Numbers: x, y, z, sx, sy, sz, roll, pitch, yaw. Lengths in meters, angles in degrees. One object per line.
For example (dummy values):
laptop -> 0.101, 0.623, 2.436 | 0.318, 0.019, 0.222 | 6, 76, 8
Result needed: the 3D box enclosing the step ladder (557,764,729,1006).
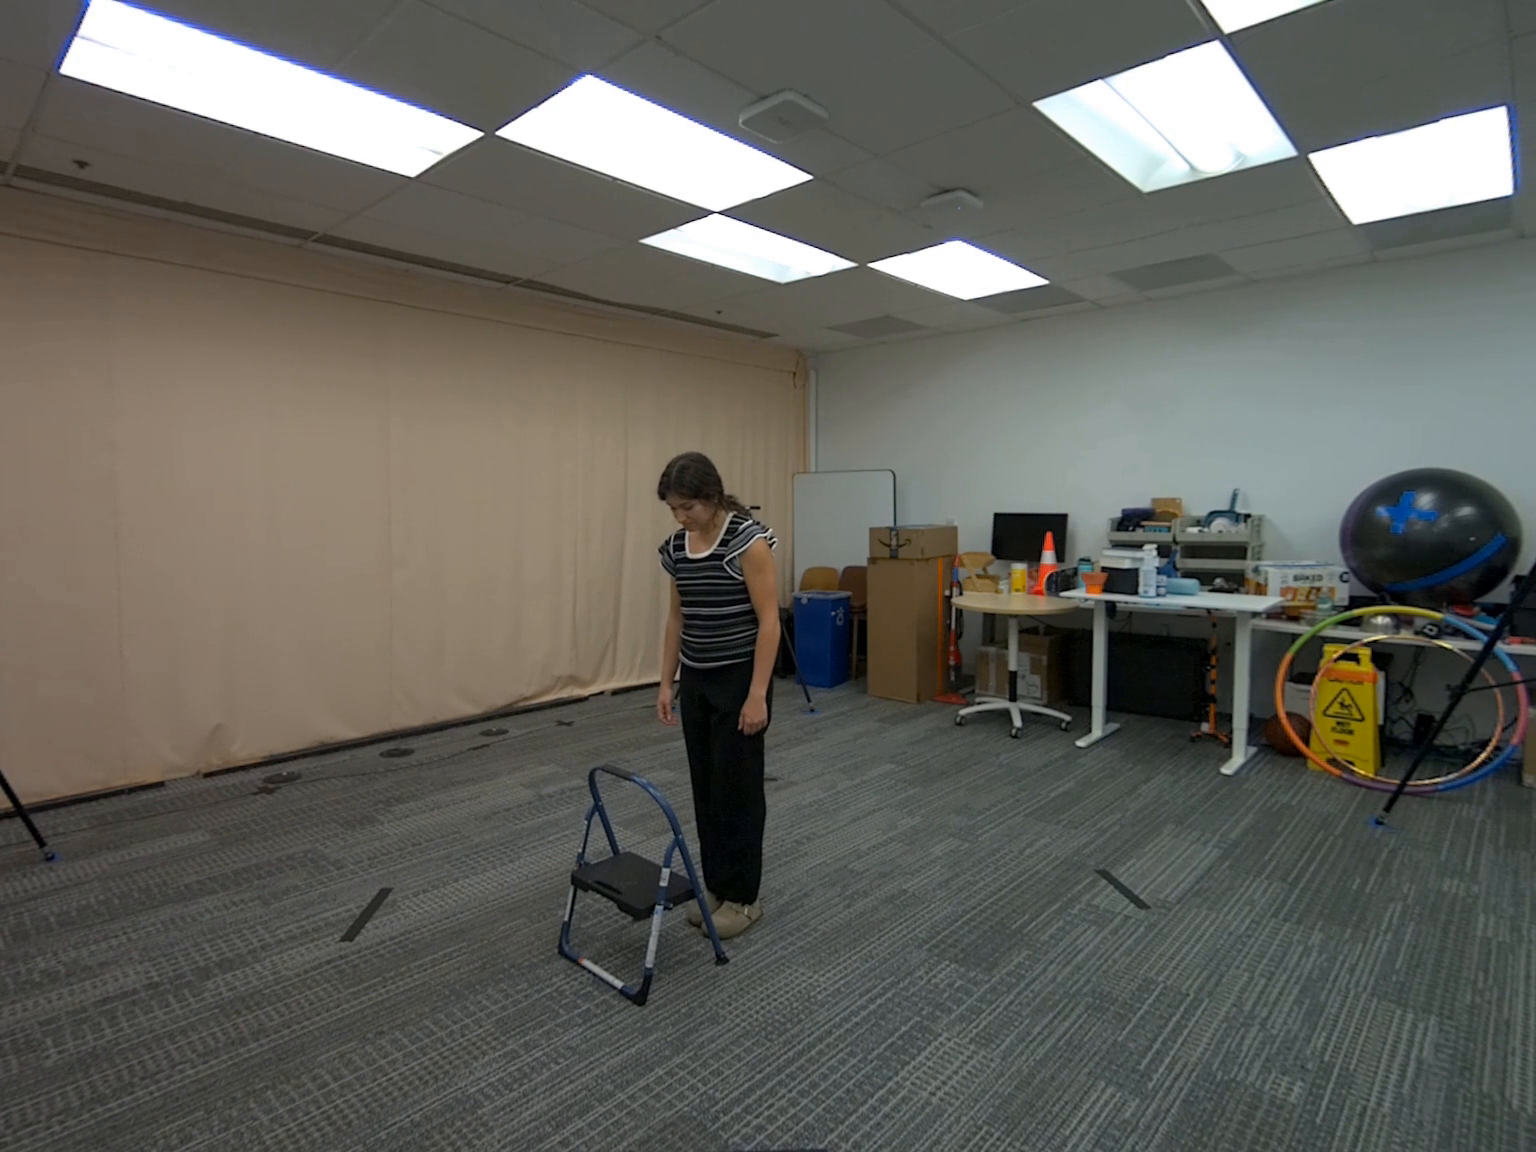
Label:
step ladder -> -0.391, 0.878, 2.589 | 0.445, 0.605, 0.338 | 3, 4, 43
